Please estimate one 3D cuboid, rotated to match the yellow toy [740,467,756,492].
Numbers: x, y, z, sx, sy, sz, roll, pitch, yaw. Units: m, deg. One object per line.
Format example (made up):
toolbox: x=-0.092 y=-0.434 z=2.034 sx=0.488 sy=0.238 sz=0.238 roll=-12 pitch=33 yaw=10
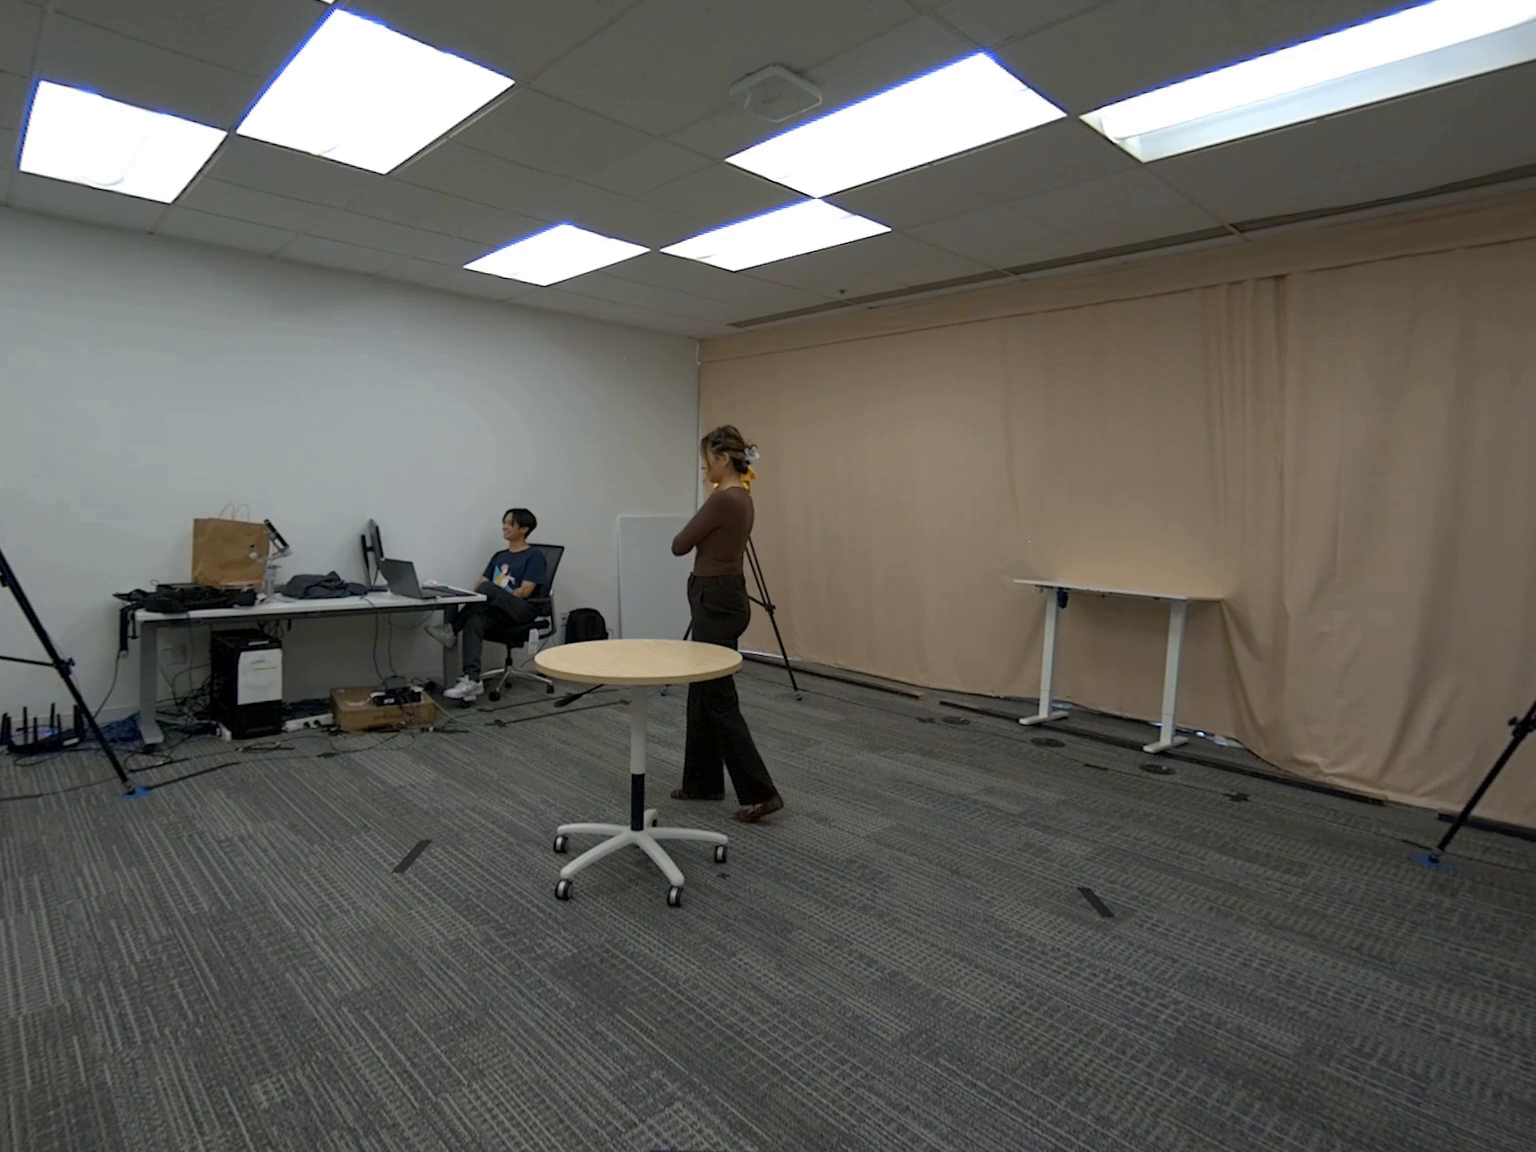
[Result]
yellow toy: x=-0.165 y=-0.500 z=3.906 sx=0.194 sy=0.232 sz=0.202 roll=-5 pitch=-8 yaw=8
